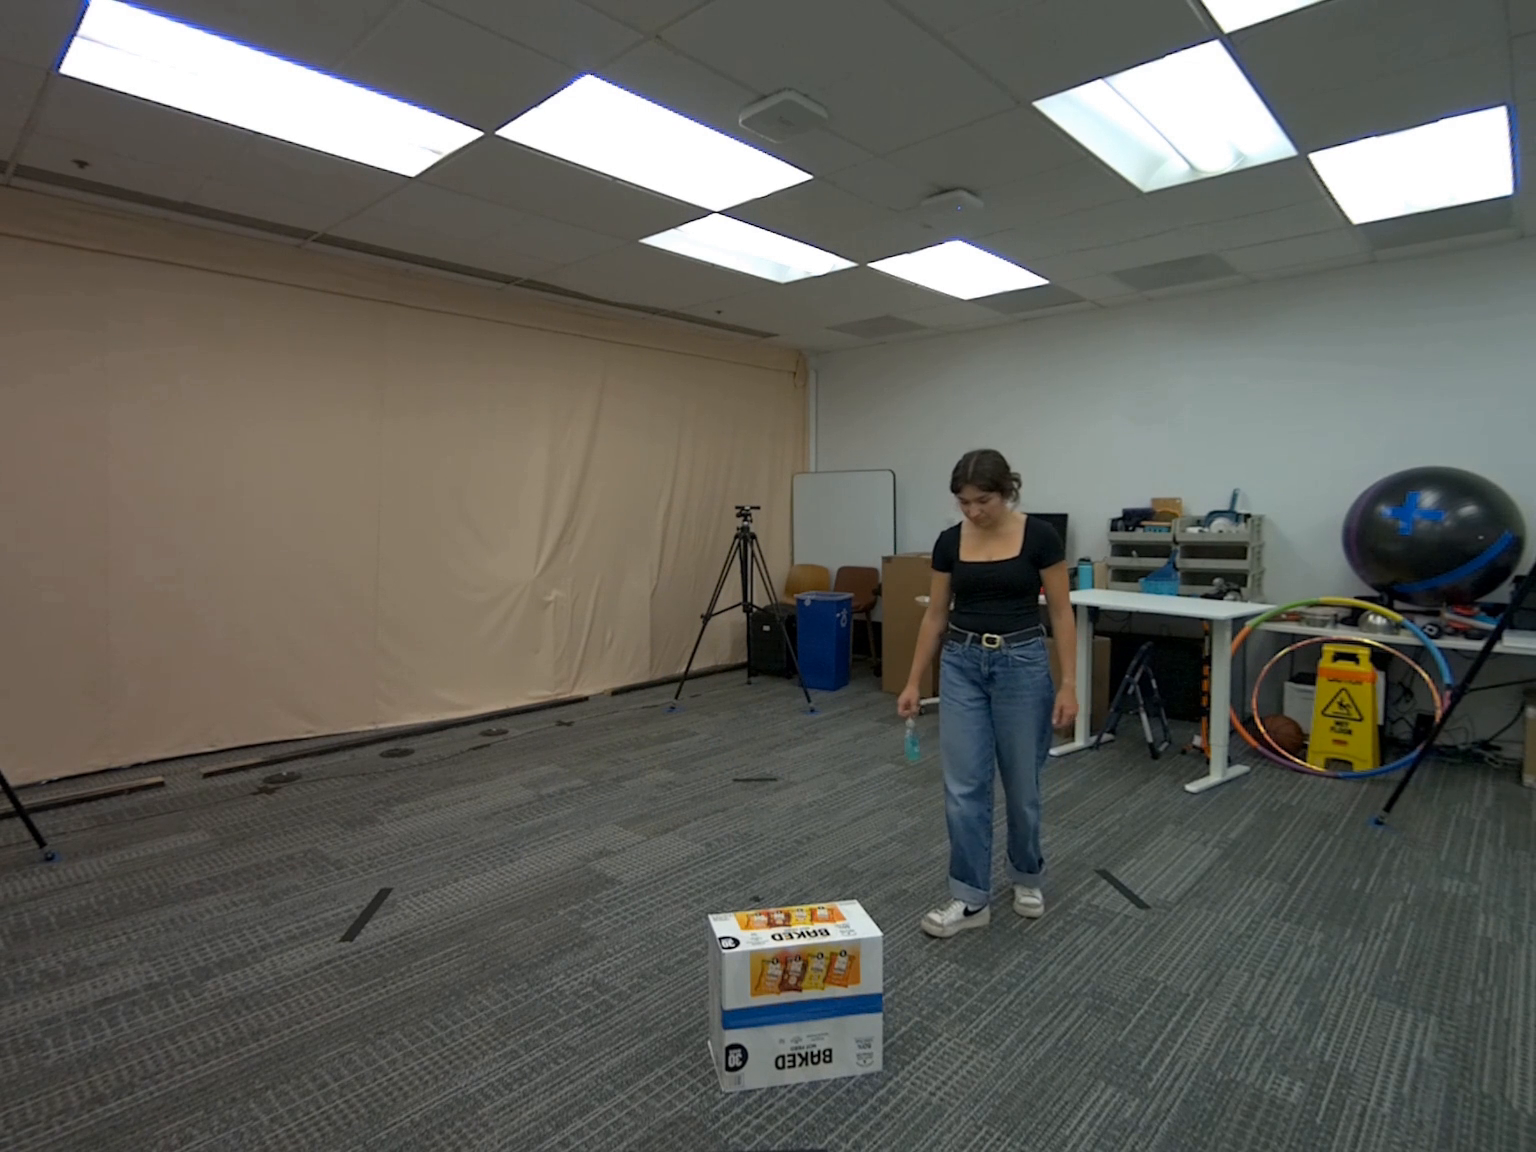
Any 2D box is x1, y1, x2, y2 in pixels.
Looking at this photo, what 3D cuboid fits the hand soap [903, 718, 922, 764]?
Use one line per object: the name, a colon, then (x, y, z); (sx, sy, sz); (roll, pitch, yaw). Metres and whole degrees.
hand soap: (0.517, 0.538, 2.870); (0.044, 0.169, 0.083); (-4, -6, 5)
